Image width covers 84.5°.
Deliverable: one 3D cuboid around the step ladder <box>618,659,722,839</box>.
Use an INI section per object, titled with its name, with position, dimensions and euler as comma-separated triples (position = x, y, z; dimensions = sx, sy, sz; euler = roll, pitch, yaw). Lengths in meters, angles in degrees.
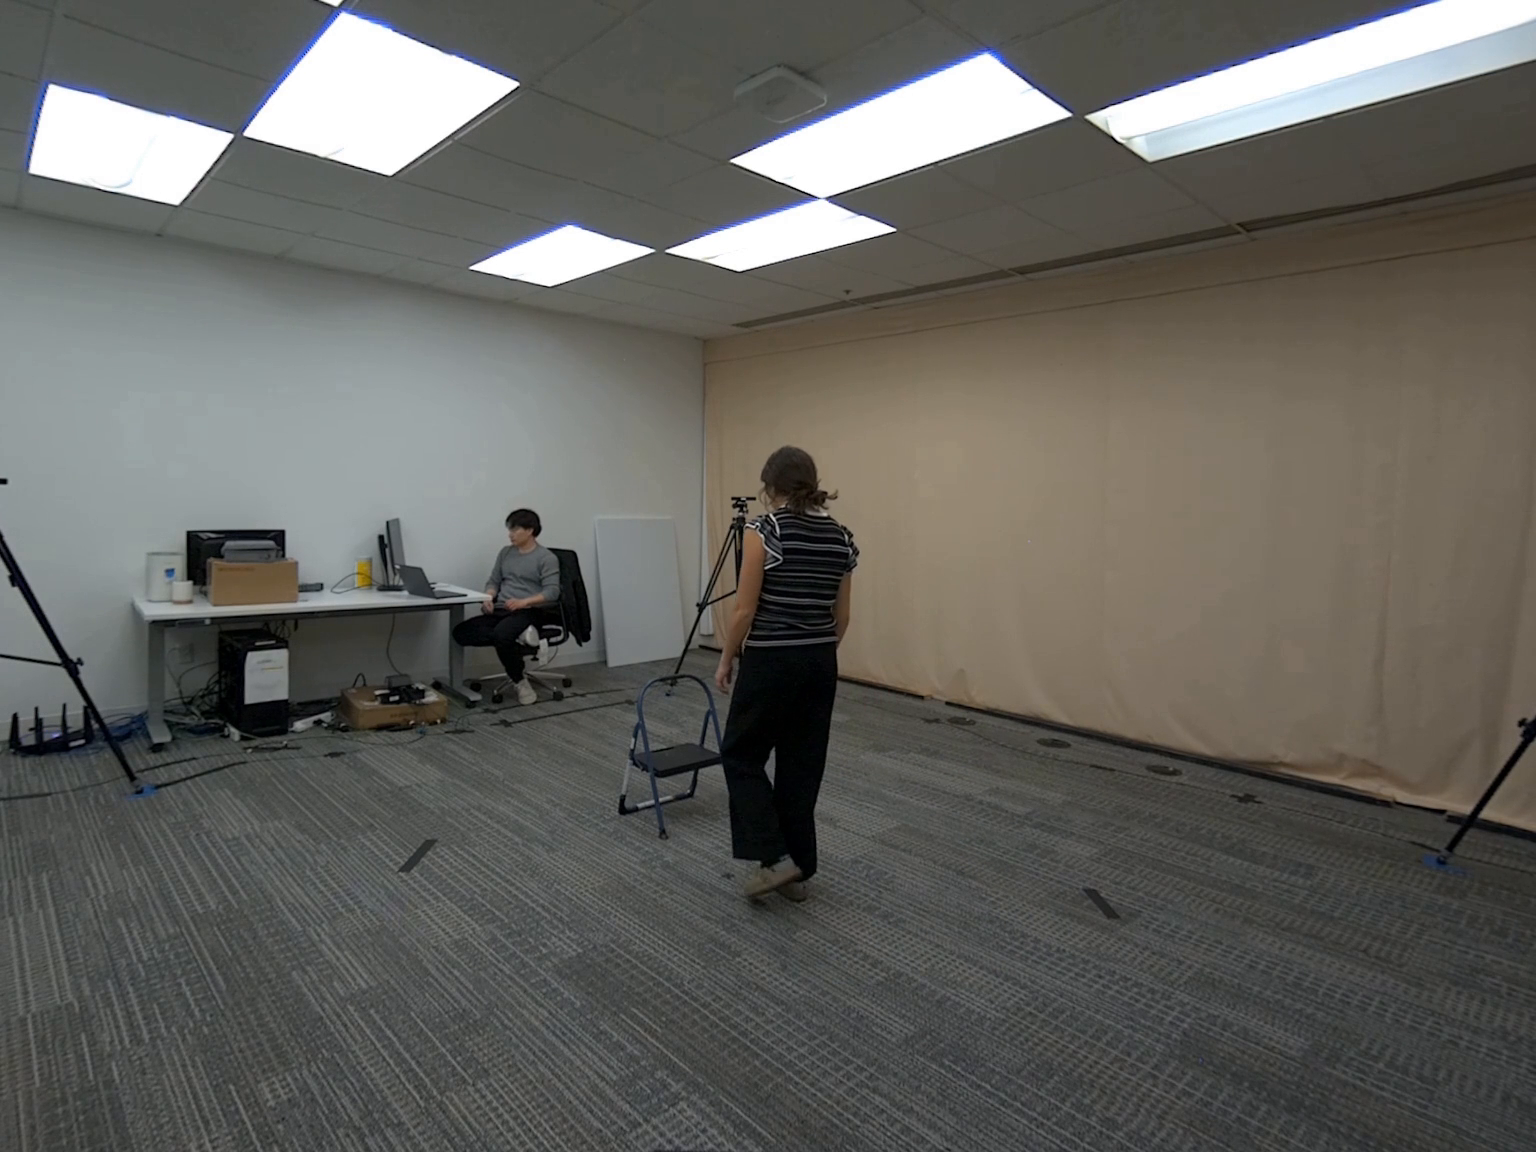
[step ladder]
position = -0.391, 0.750, 3.677
dimensions = 0.420, 0.605, 0.358
euler = -1, 5, -43
